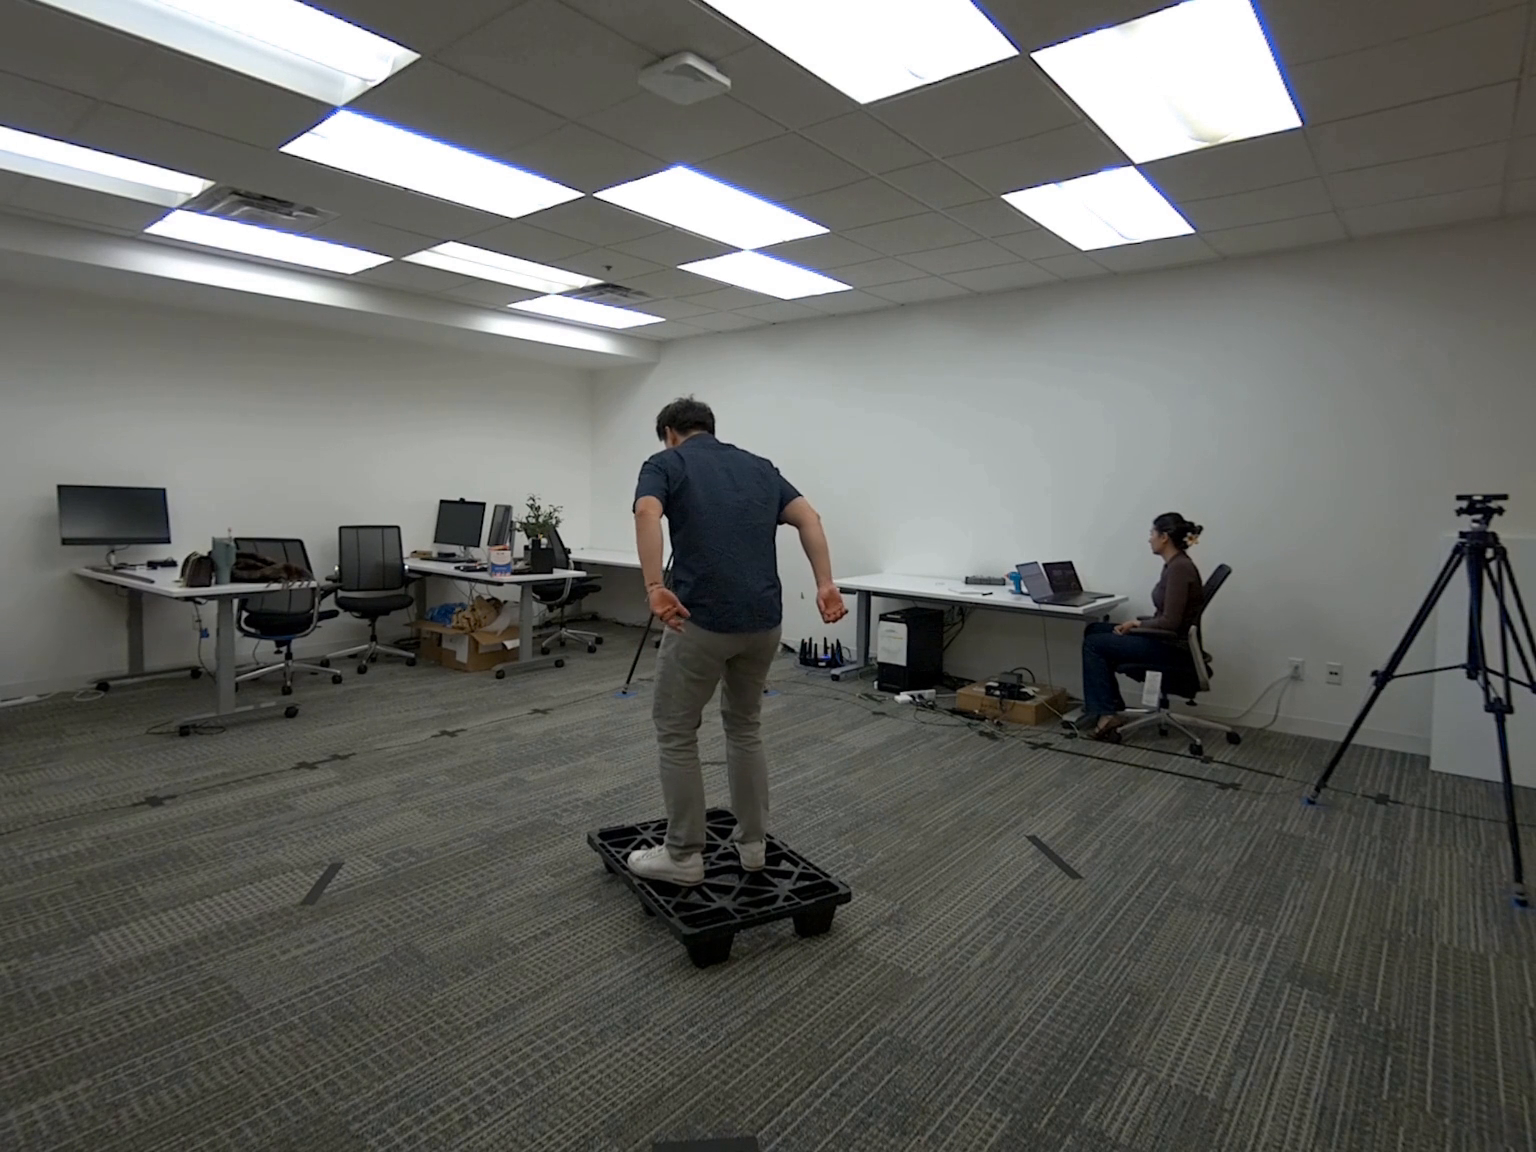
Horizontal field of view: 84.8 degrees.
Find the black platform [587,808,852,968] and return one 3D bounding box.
[{"bbox_3d":[-0.206,1.021,2.874,0.589,0.143,0.830,-3,7,-30],"label":"black platform"}]
